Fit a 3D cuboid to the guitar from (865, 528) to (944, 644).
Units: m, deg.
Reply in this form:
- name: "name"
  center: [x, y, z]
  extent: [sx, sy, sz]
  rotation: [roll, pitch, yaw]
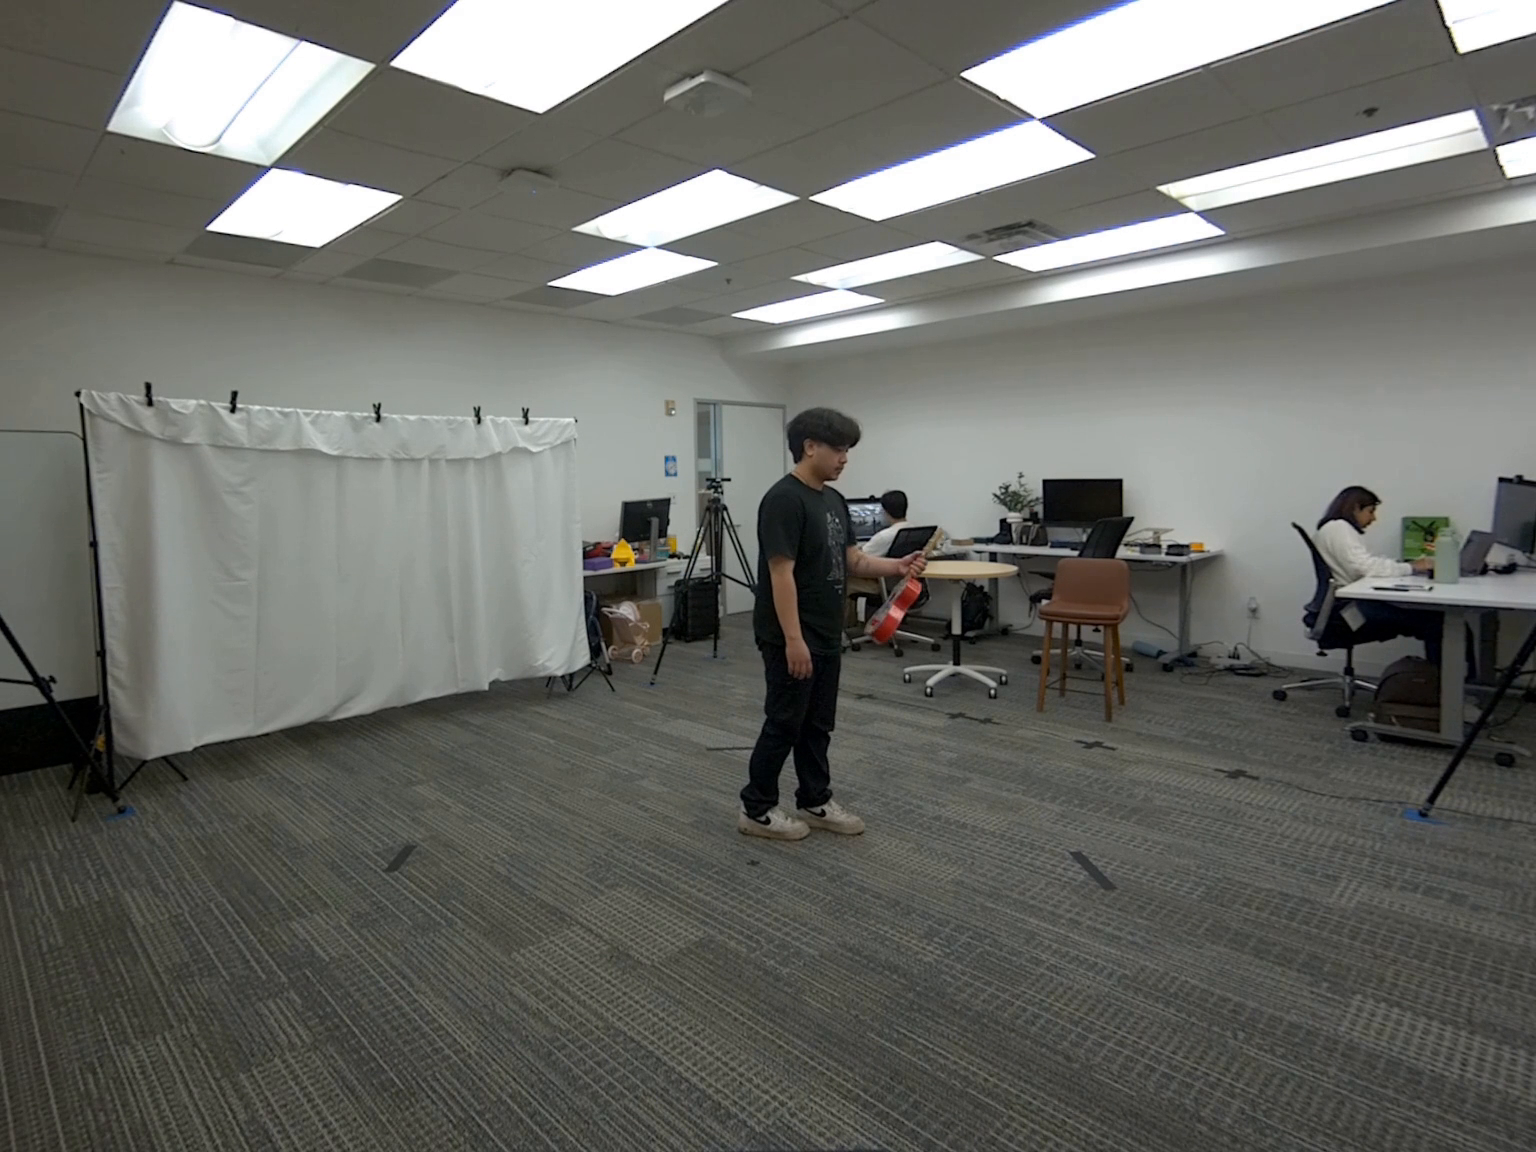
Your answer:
- name: "guitar"
  center: [0.529, 0.041, 3.195]
  extent: [0.070, 0.497, 0.194]
  rotation: [36, 9, -5]
